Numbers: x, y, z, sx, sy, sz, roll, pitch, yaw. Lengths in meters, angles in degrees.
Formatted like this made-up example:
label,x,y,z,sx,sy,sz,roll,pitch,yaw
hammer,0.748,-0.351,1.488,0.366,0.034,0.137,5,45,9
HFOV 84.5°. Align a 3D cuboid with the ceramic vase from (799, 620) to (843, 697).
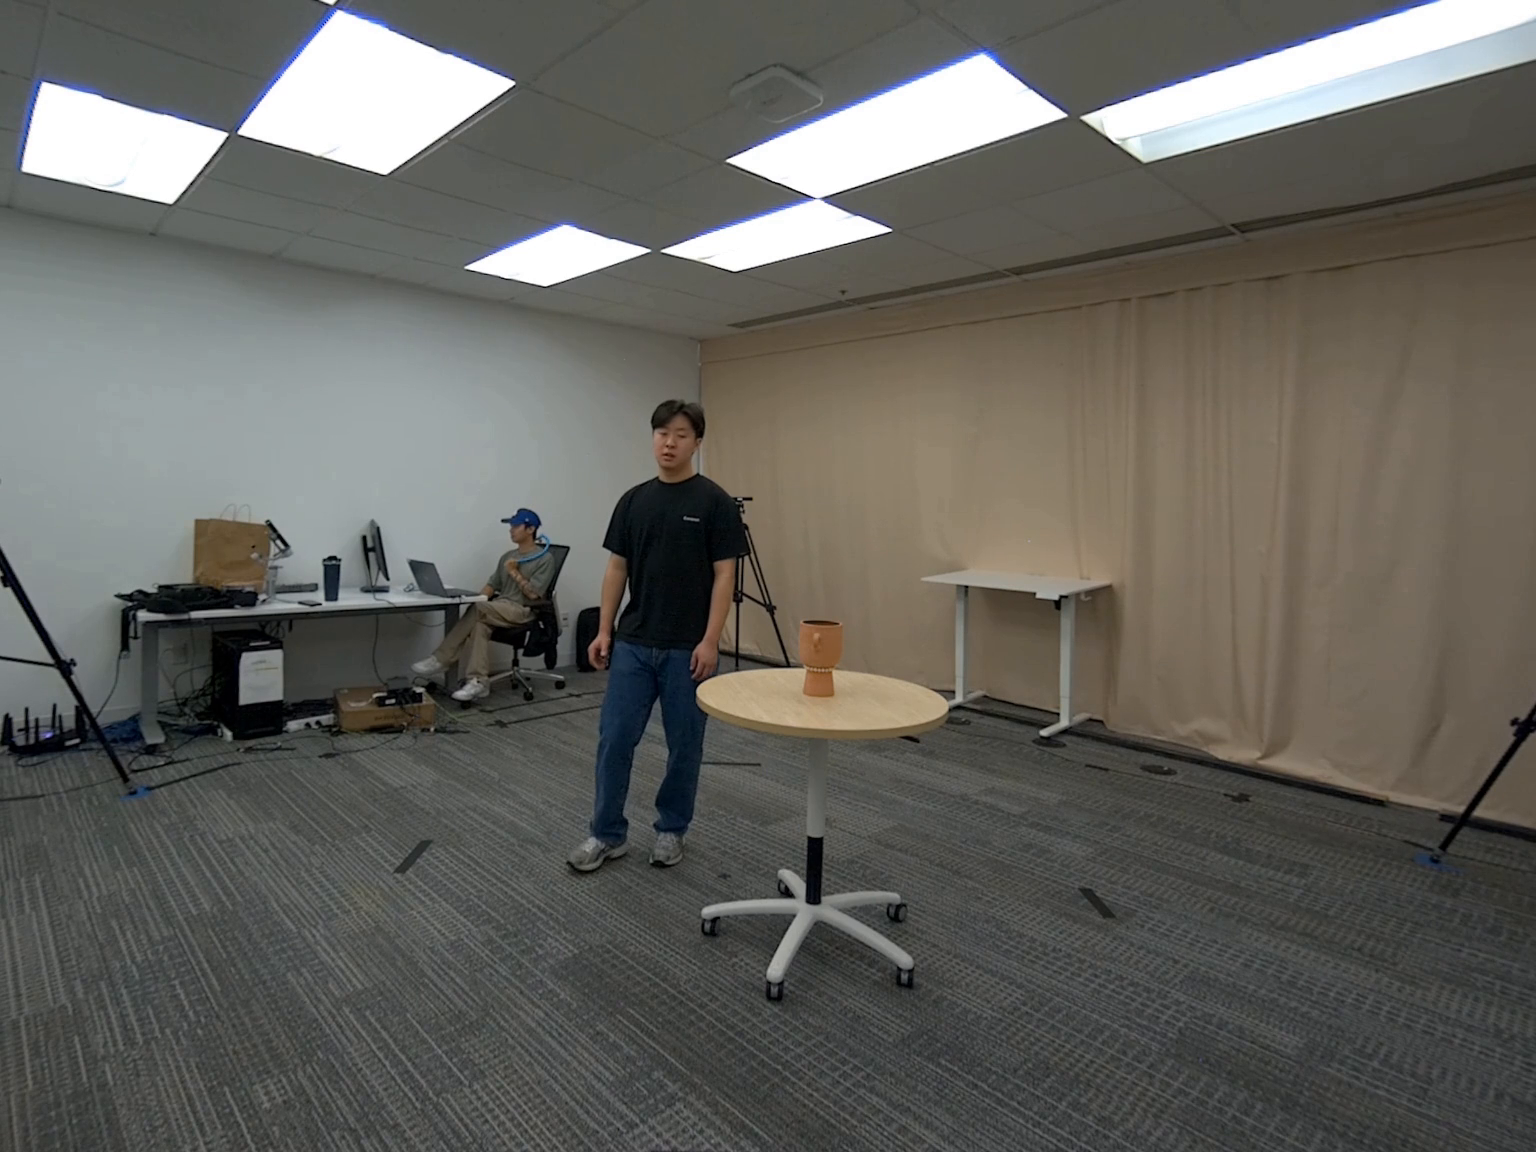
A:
label,x,y,z,sx,sy,sz,roll,pitch,yaw
ceramic vase,0.156,0.257,2.593,0.155,0.219,0.138,-2,6,-37
